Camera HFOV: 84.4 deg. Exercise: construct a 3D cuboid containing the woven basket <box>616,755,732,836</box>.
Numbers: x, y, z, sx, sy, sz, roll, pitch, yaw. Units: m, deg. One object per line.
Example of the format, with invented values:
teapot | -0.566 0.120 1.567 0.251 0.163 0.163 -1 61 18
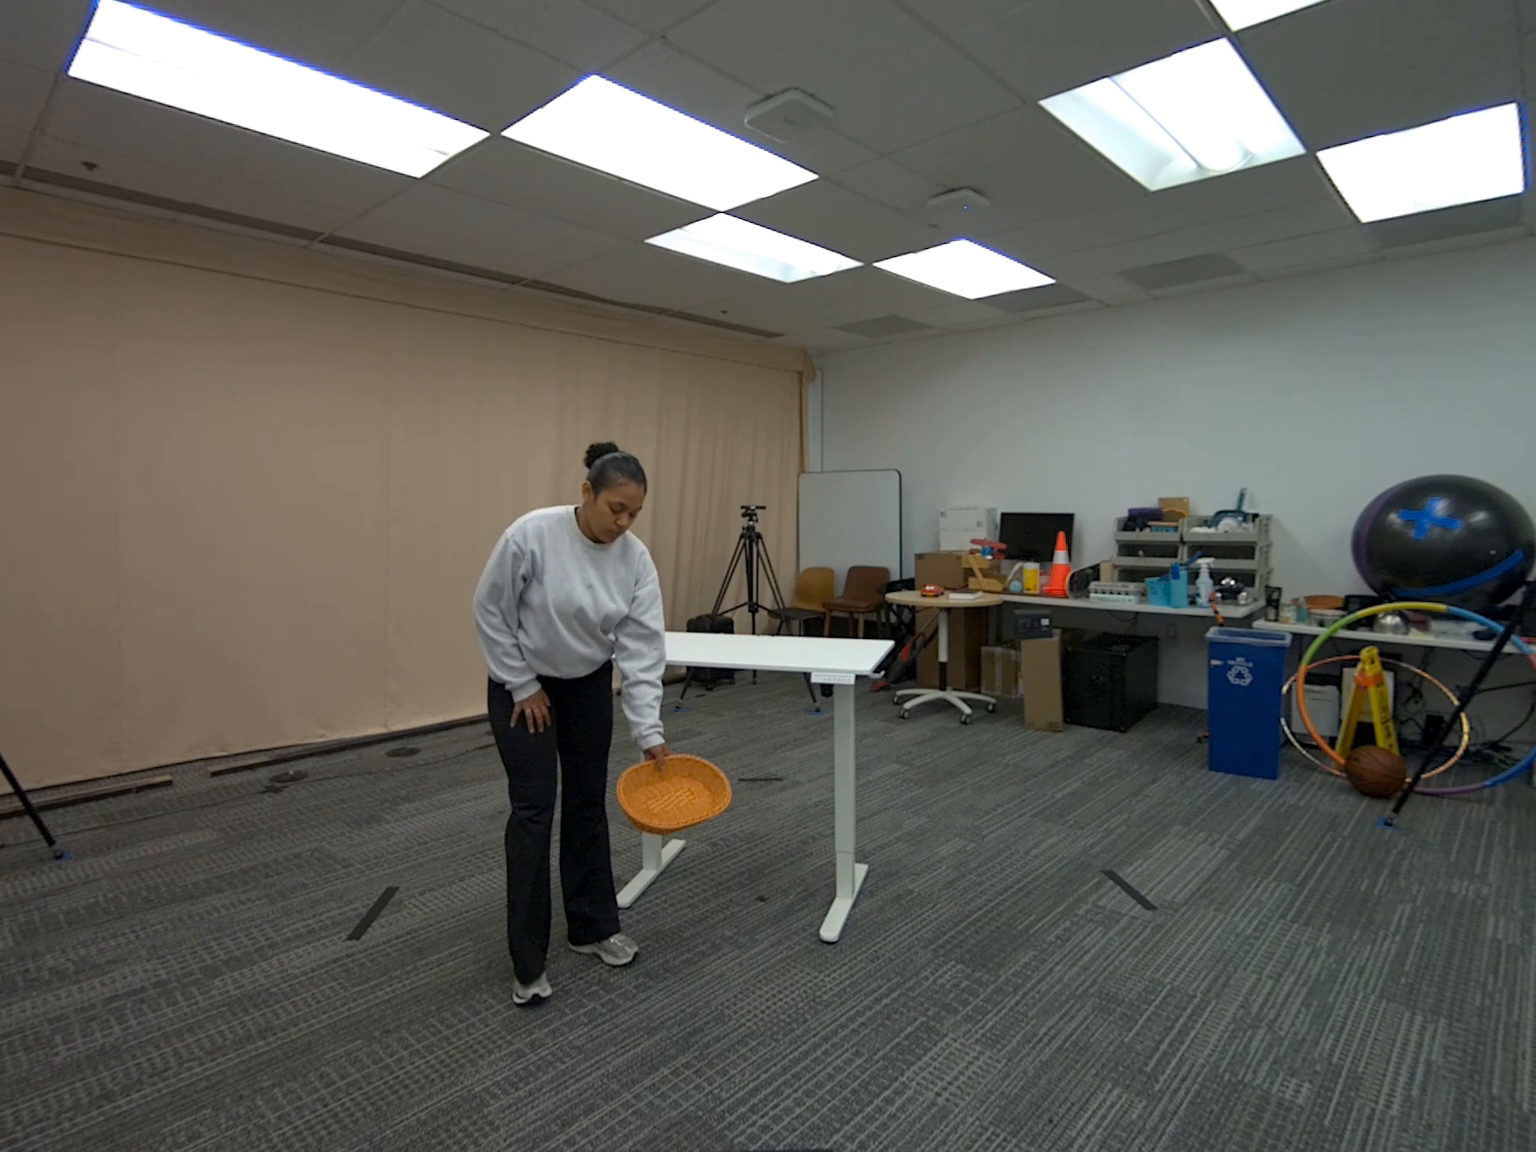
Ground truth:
woven basket | -0.264 0.644 2.376 0.341 0.073 0.261 -6 32 -32
